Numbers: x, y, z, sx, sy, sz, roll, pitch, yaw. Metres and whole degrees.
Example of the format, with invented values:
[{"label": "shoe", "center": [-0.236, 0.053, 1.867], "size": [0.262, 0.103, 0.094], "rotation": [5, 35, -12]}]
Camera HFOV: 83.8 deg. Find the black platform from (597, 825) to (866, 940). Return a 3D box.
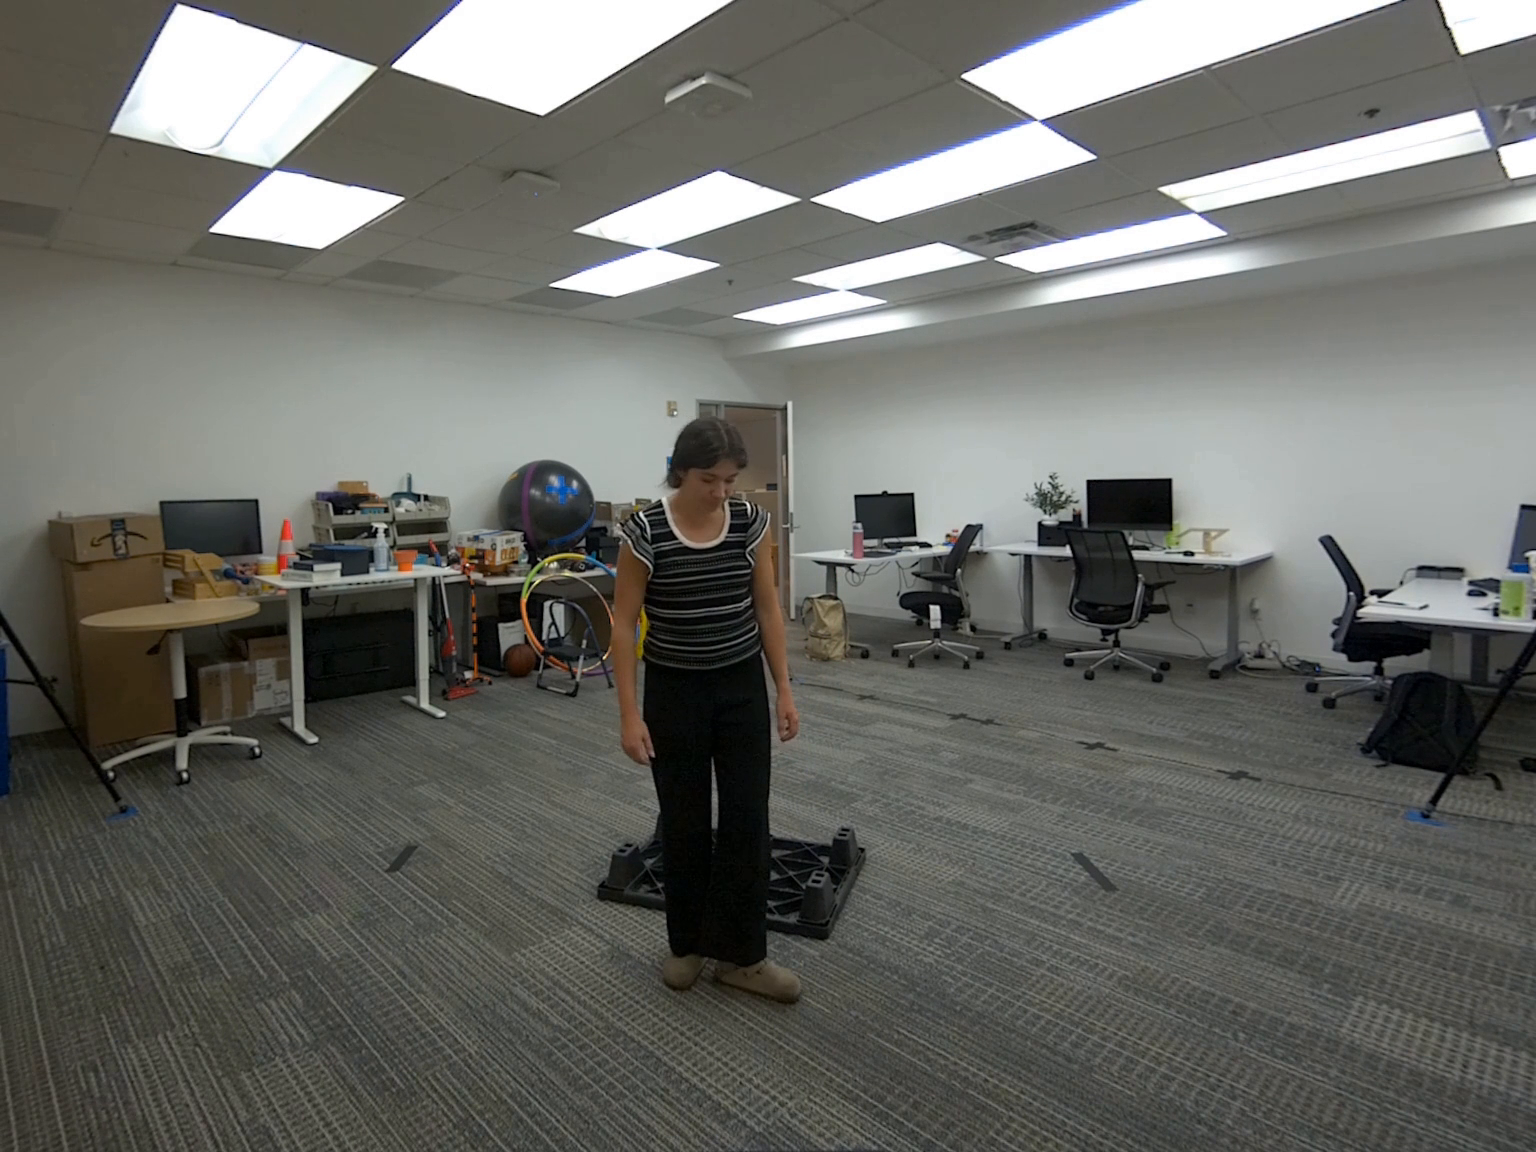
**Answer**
[{"label": "black platform", "center": [-0.101, 0.991, 2.994], "size": [0.821, 0.142, 0.597], "rotation": [1, 7, 19]}]
